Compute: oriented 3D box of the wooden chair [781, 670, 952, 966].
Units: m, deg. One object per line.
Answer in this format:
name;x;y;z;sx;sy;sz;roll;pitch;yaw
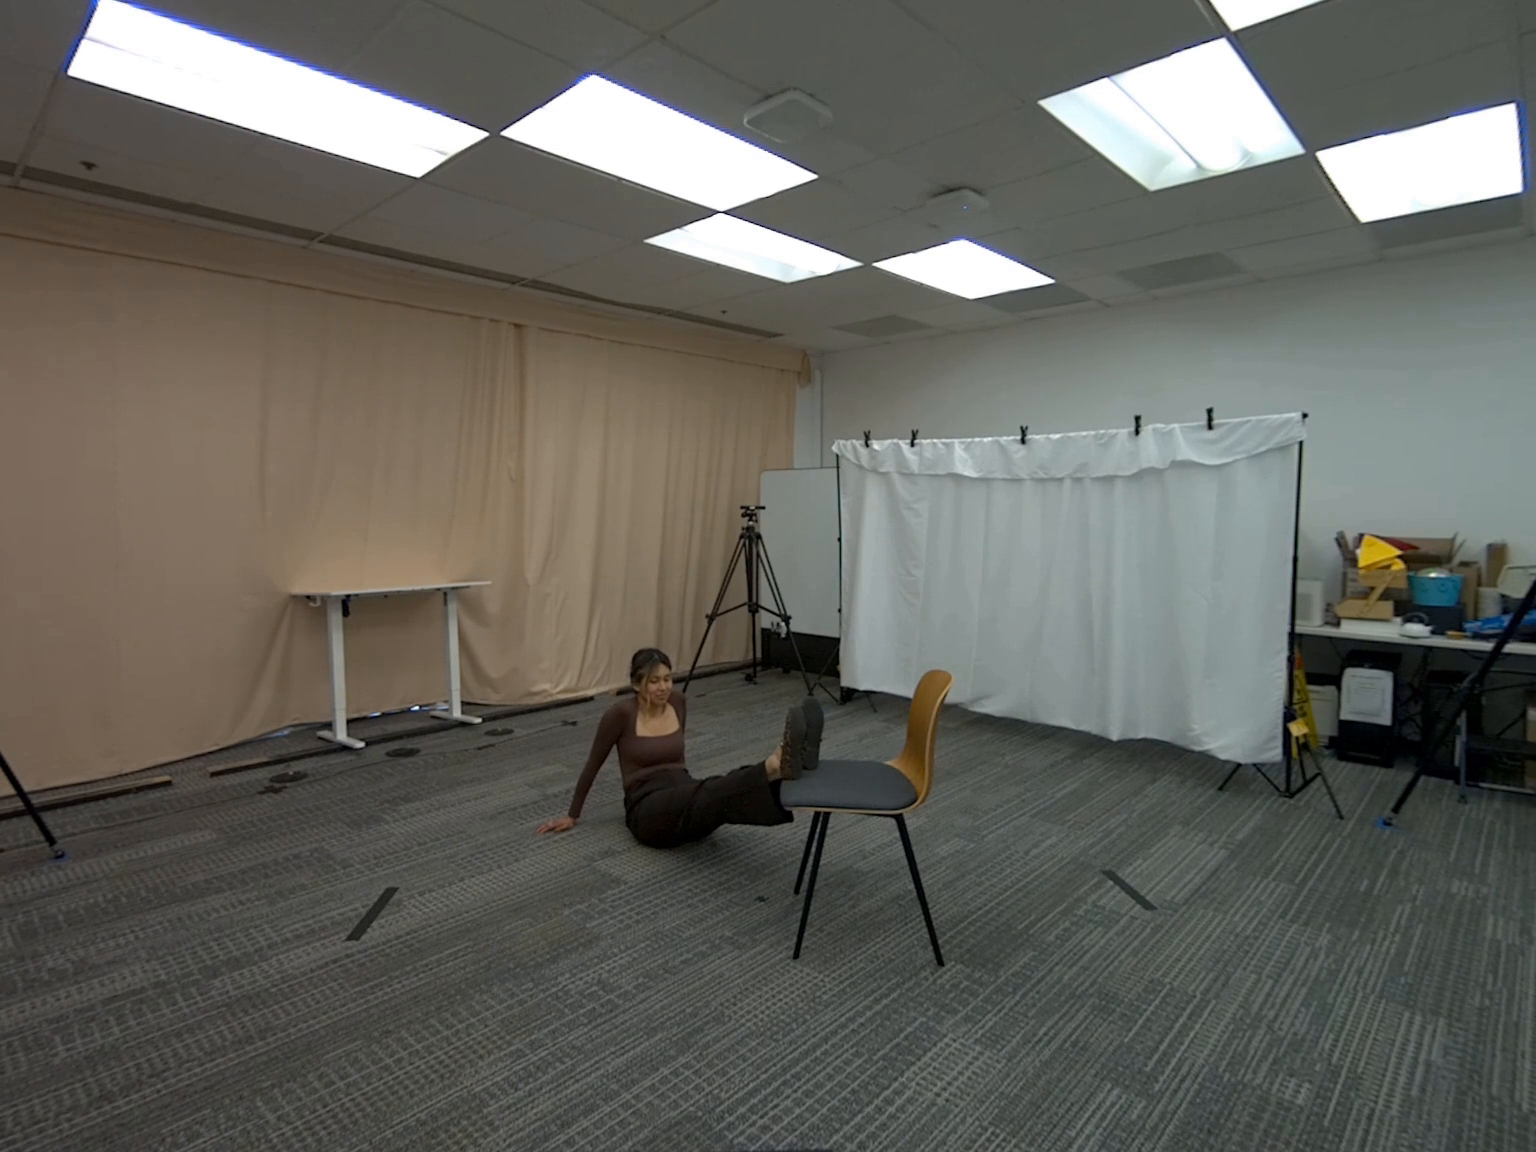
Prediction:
wooden chair;0.312;0.735;2.754;0.526;0.875;0.476;4;4;4
